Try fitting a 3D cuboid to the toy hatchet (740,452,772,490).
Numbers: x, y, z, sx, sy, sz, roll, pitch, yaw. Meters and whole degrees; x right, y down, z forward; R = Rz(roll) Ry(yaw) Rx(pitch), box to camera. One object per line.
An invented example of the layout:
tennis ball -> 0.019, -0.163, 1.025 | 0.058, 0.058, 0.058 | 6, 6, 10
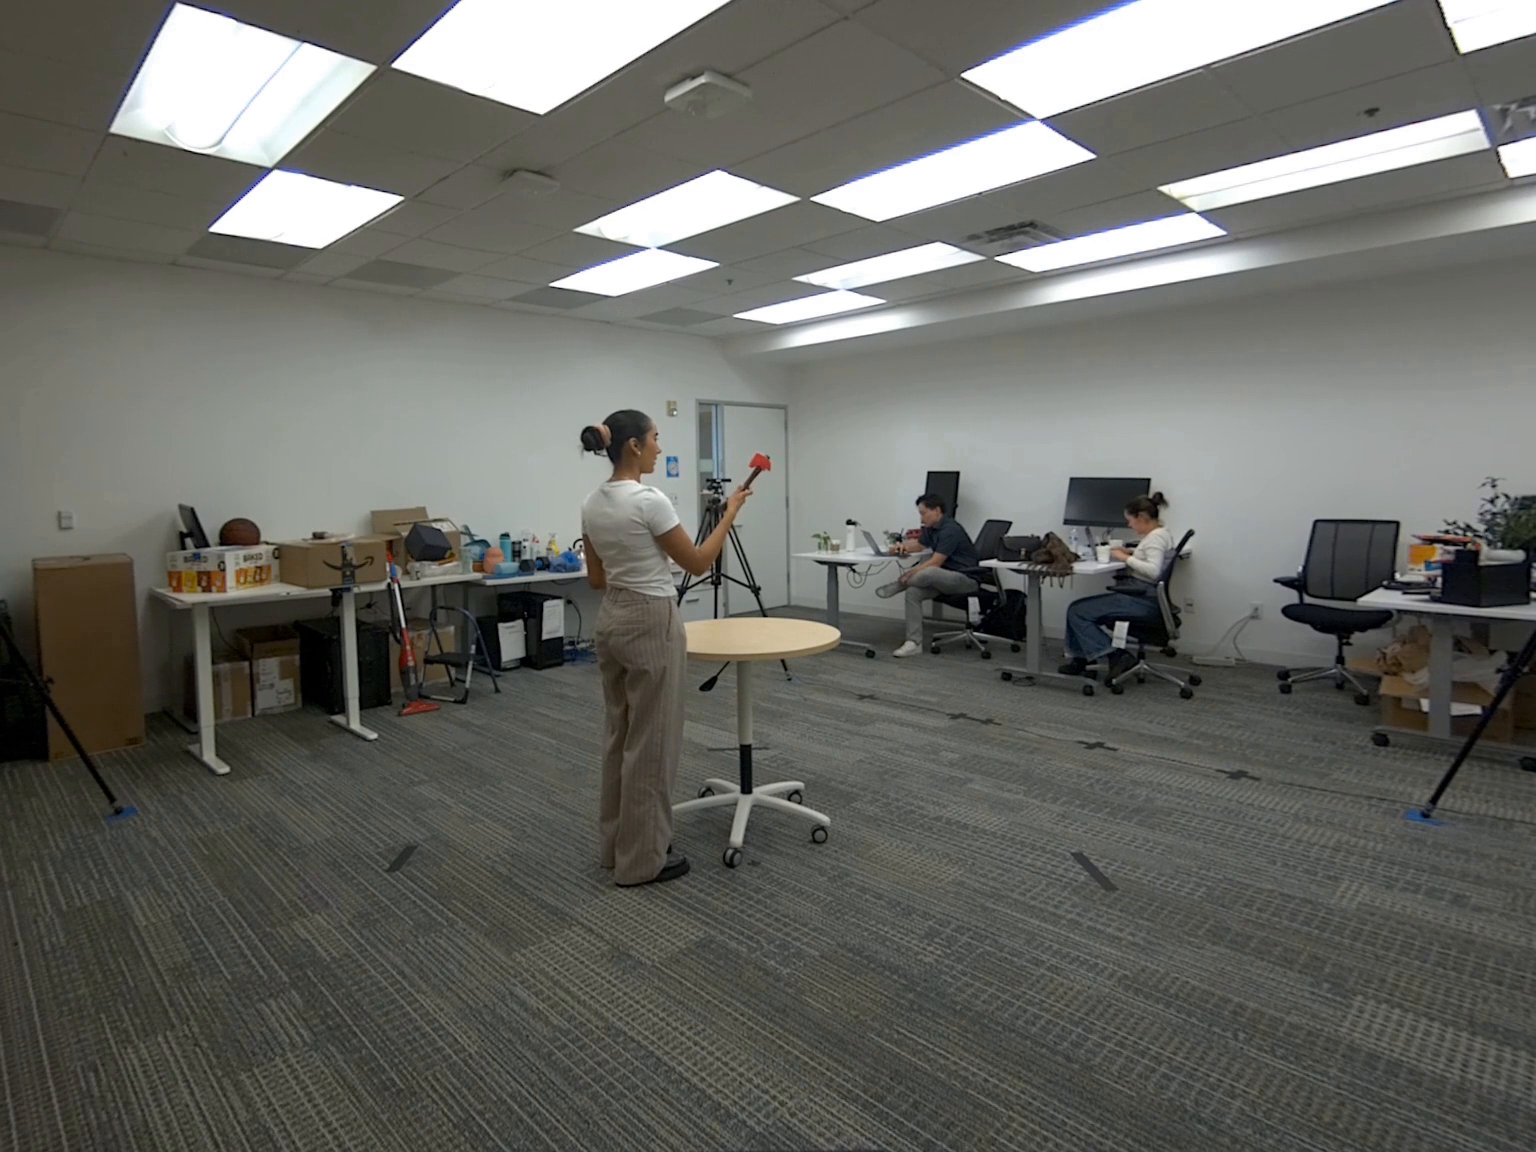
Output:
toy hatchet -> -0.088, -0.353, 3.093 | 0.269, 0.127, 0.030 | -41, 60, -20
